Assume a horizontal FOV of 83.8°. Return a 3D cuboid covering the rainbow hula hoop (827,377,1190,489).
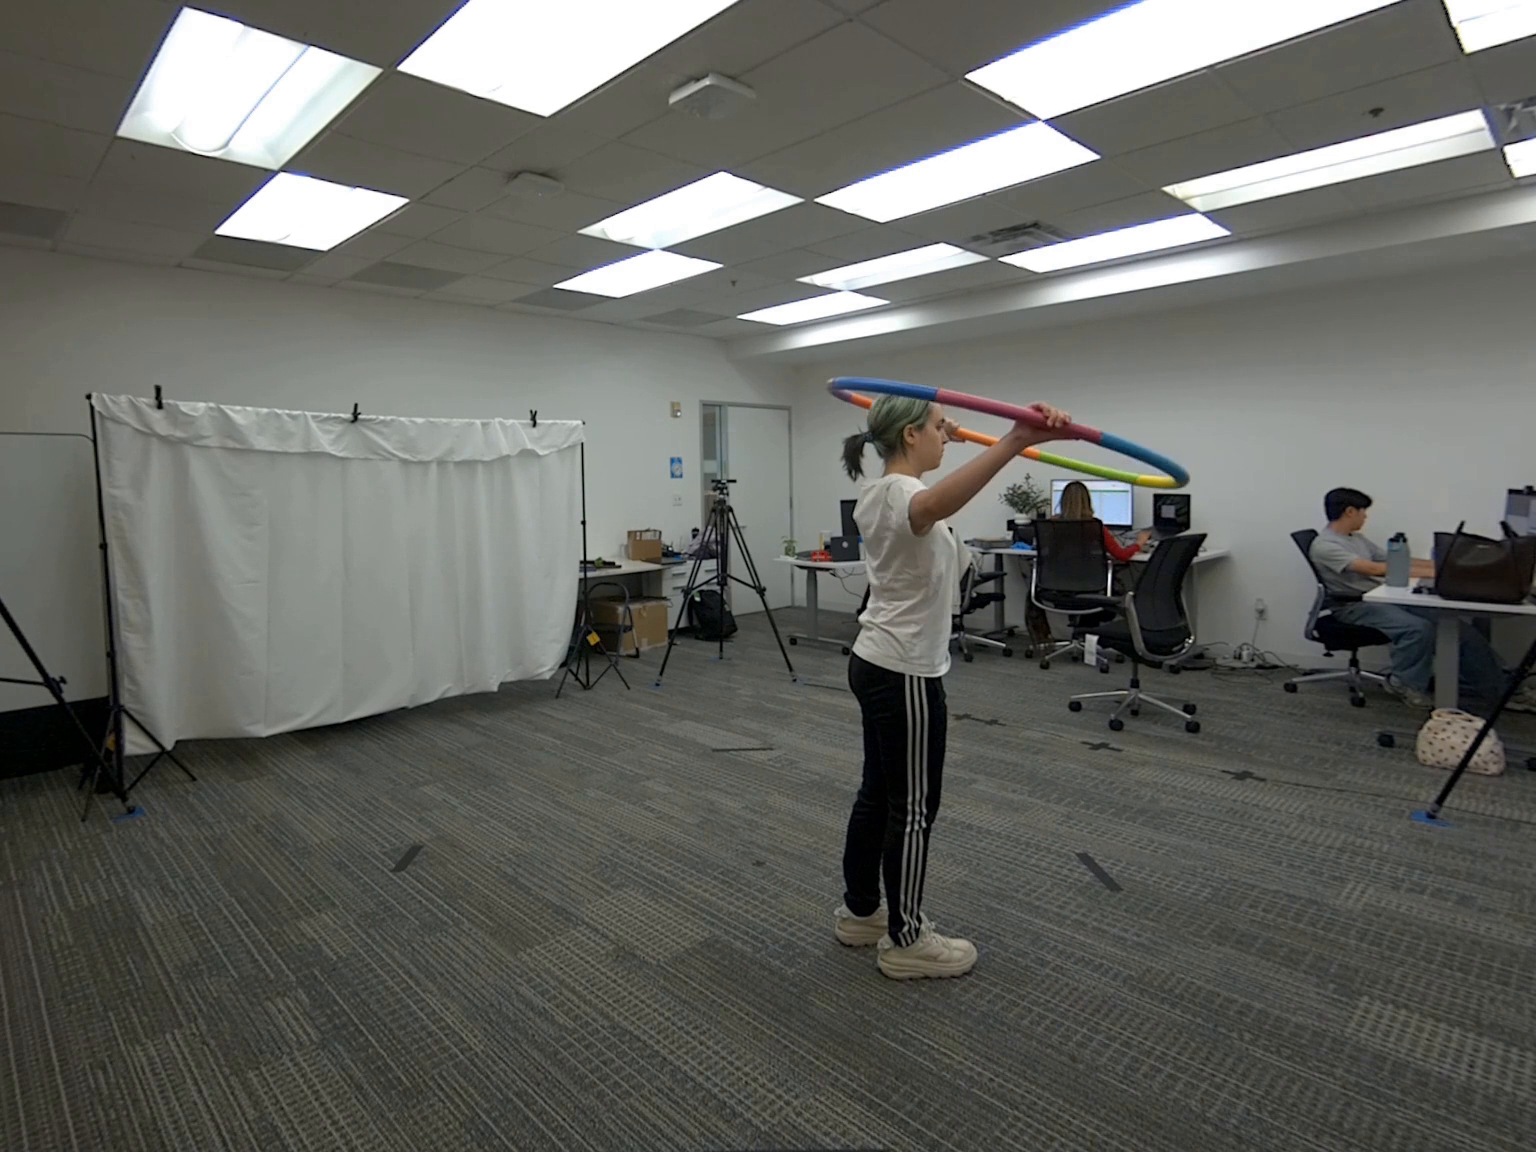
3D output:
[{"bbox_3d":[0.621,-0.397,2.372,0.982,0.051,0.994,17,8,-4],"label":"rainbow hula hoop"}]
